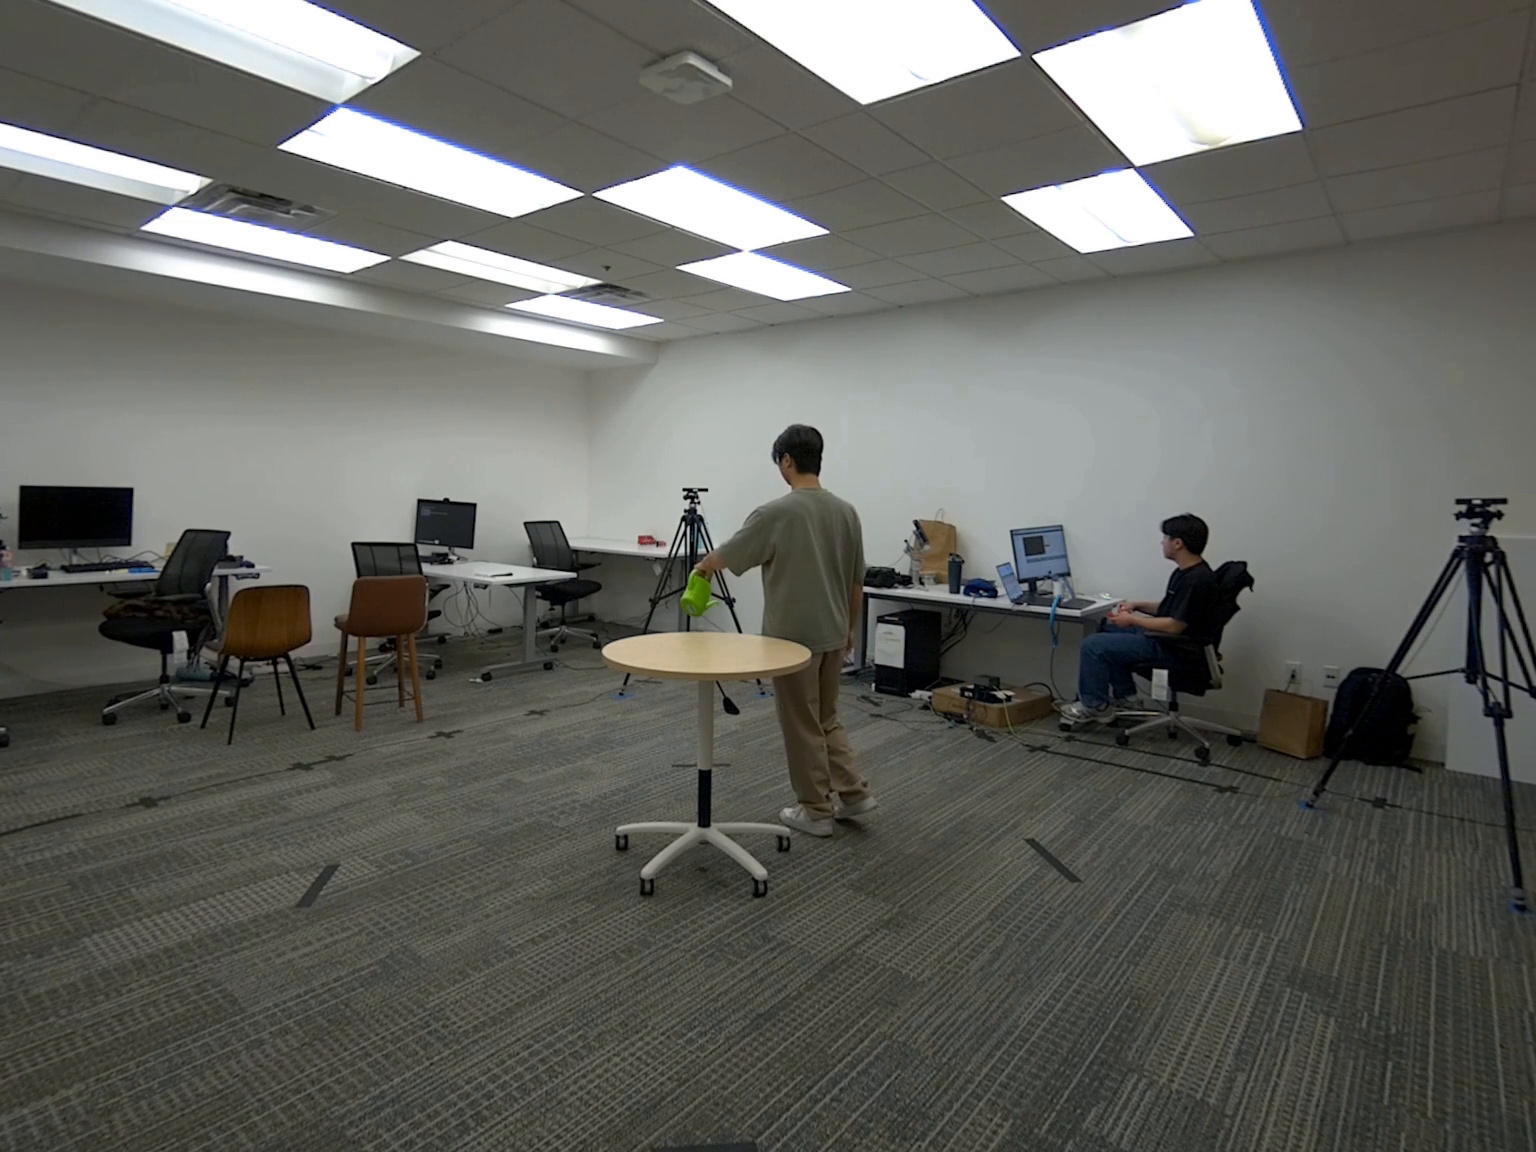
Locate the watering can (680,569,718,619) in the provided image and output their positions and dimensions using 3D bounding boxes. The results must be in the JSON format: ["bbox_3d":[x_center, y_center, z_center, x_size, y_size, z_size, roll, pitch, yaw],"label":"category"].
[{"bbox_3d":[-0.294,0.096,3.717,0.100,0.179,0.268,-8,-47,36],"label":"watering can"}]
